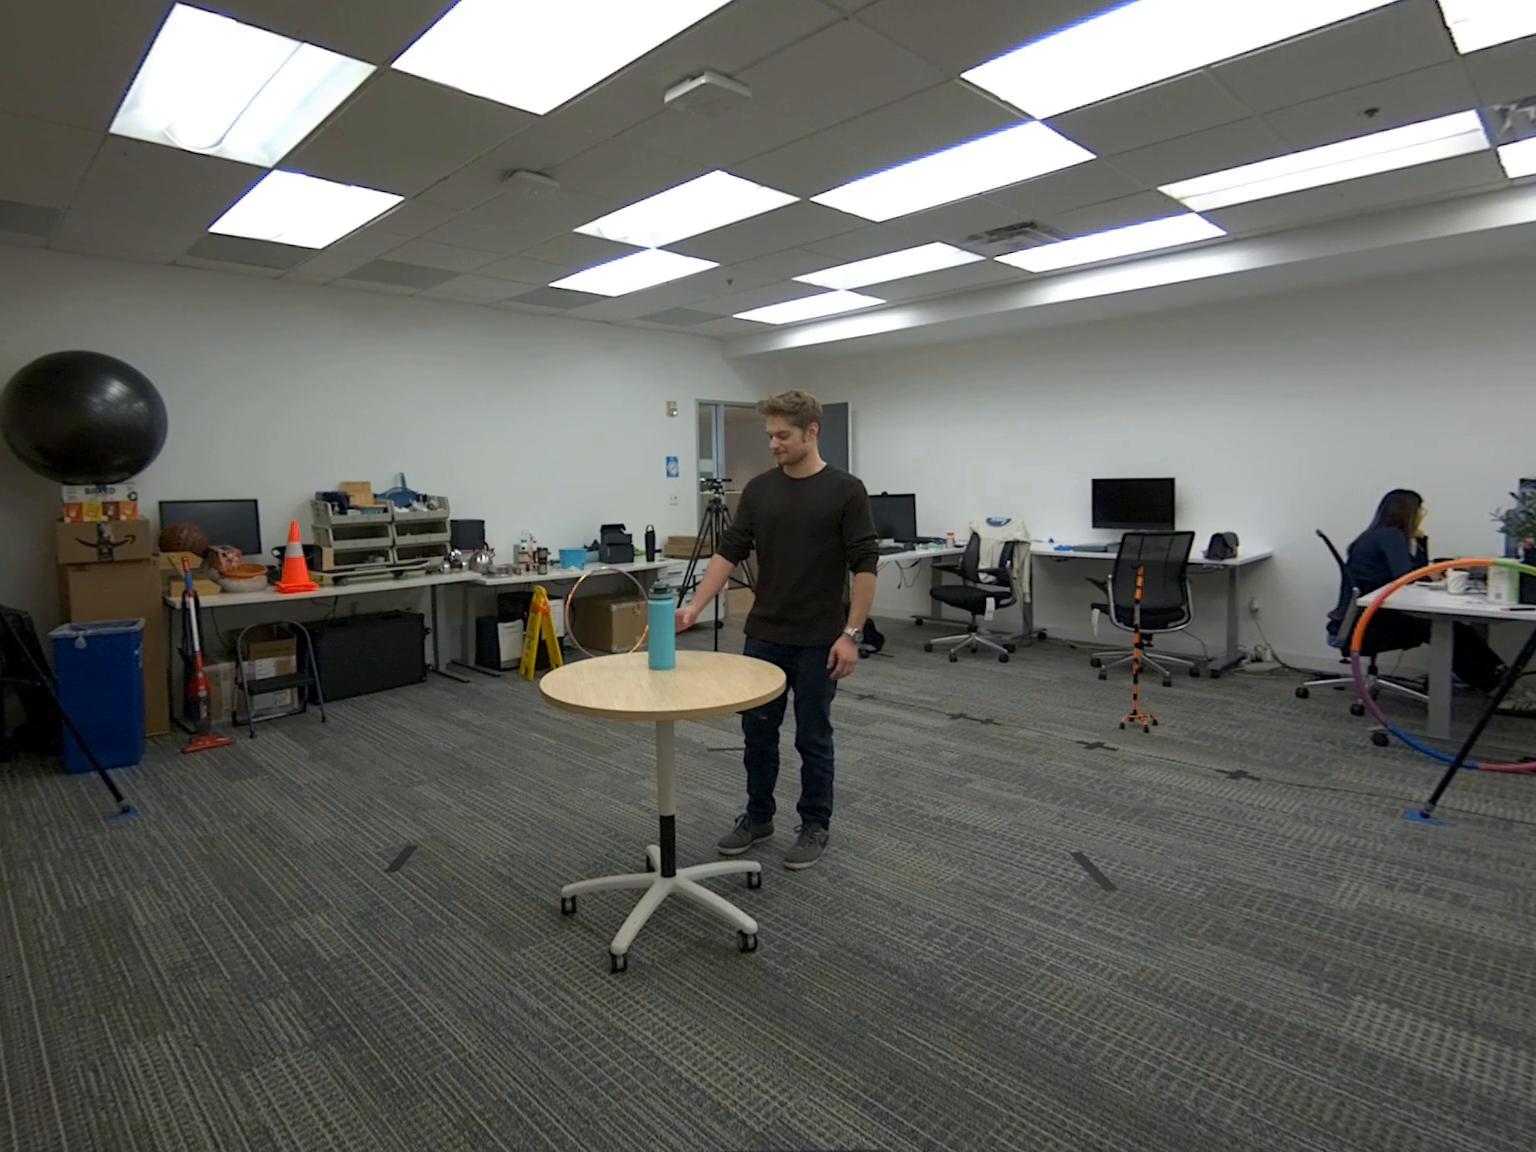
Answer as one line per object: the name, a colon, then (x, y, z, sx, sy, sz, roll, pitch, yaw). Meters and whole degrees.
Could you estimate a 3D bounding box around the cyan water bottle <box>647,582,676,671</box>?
cyan water bottle: (-0.349, 0.162, 2.802, 0.092, 0.282, 0.093, -1, 3, -2)
